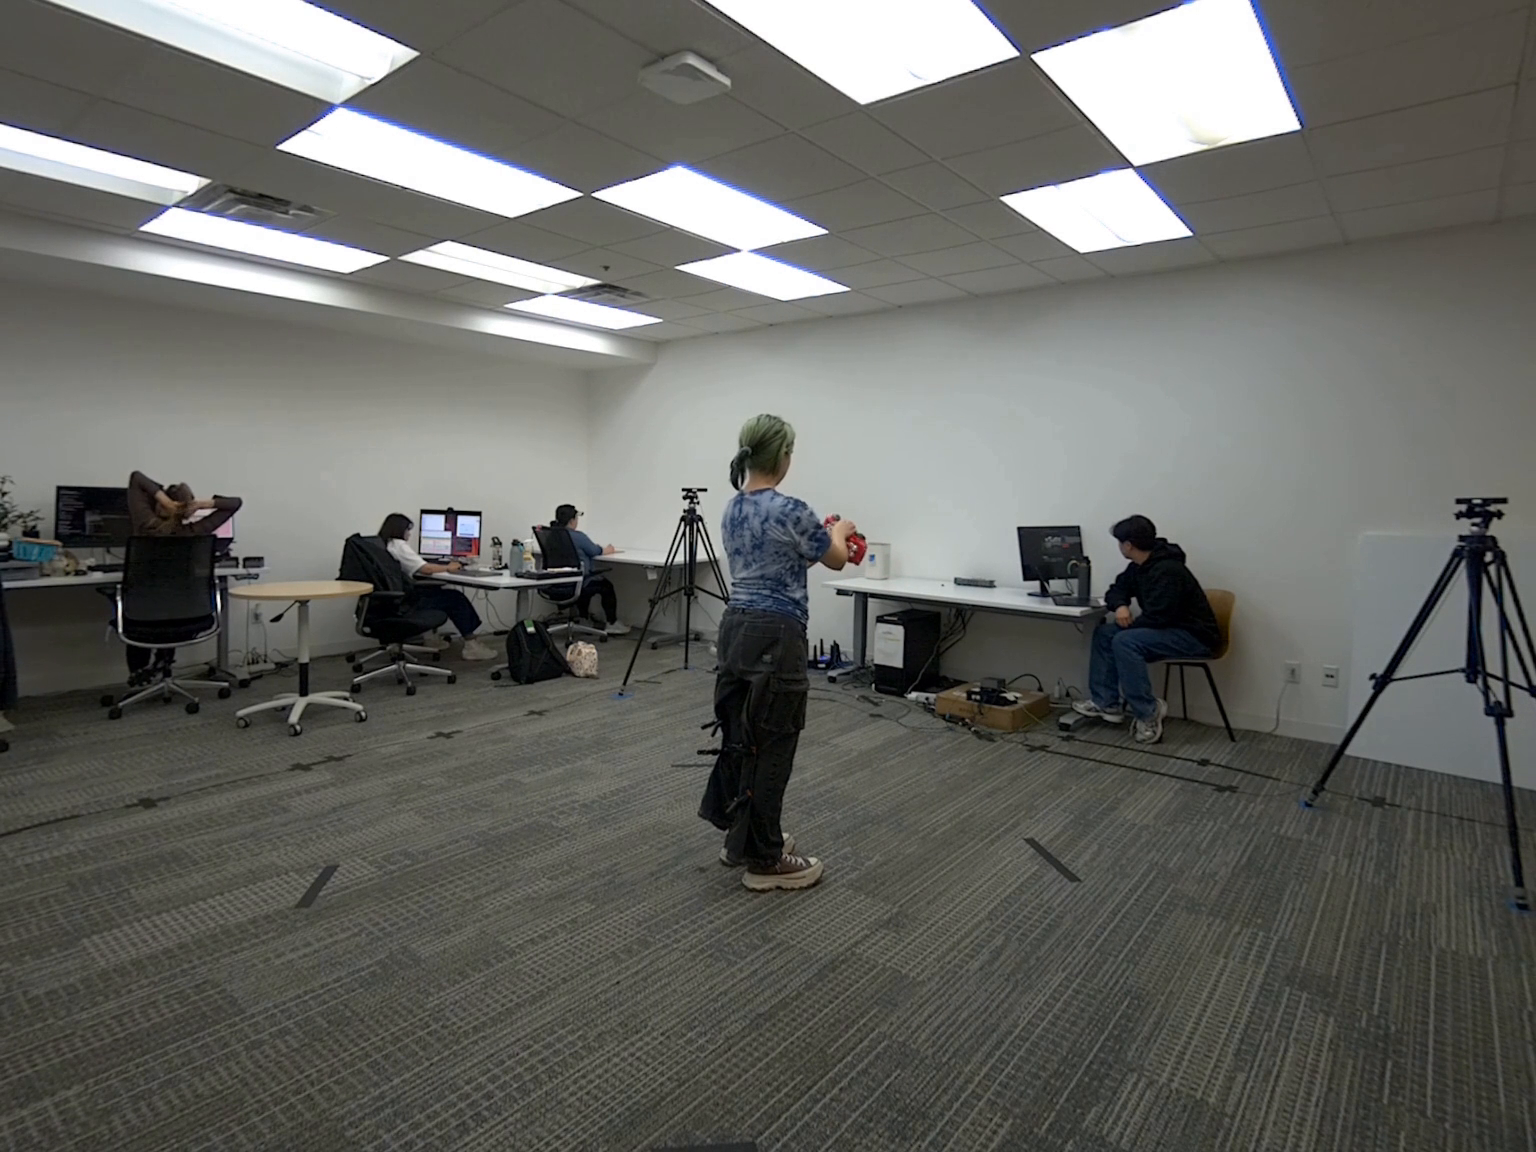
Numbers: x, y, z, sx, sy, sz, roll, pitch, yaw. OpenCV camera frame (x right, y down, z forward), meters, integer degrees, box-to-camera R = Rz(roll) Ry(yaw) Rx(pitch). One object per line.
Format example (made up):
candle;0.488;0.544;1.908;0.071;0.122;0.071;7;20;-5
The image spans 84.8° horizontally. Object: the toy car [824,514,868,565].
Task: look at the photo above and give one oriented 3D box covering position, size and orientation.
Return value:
toy car;0.298;-0.136;3.369;0.081;0.129;0.265;5;31;-30
